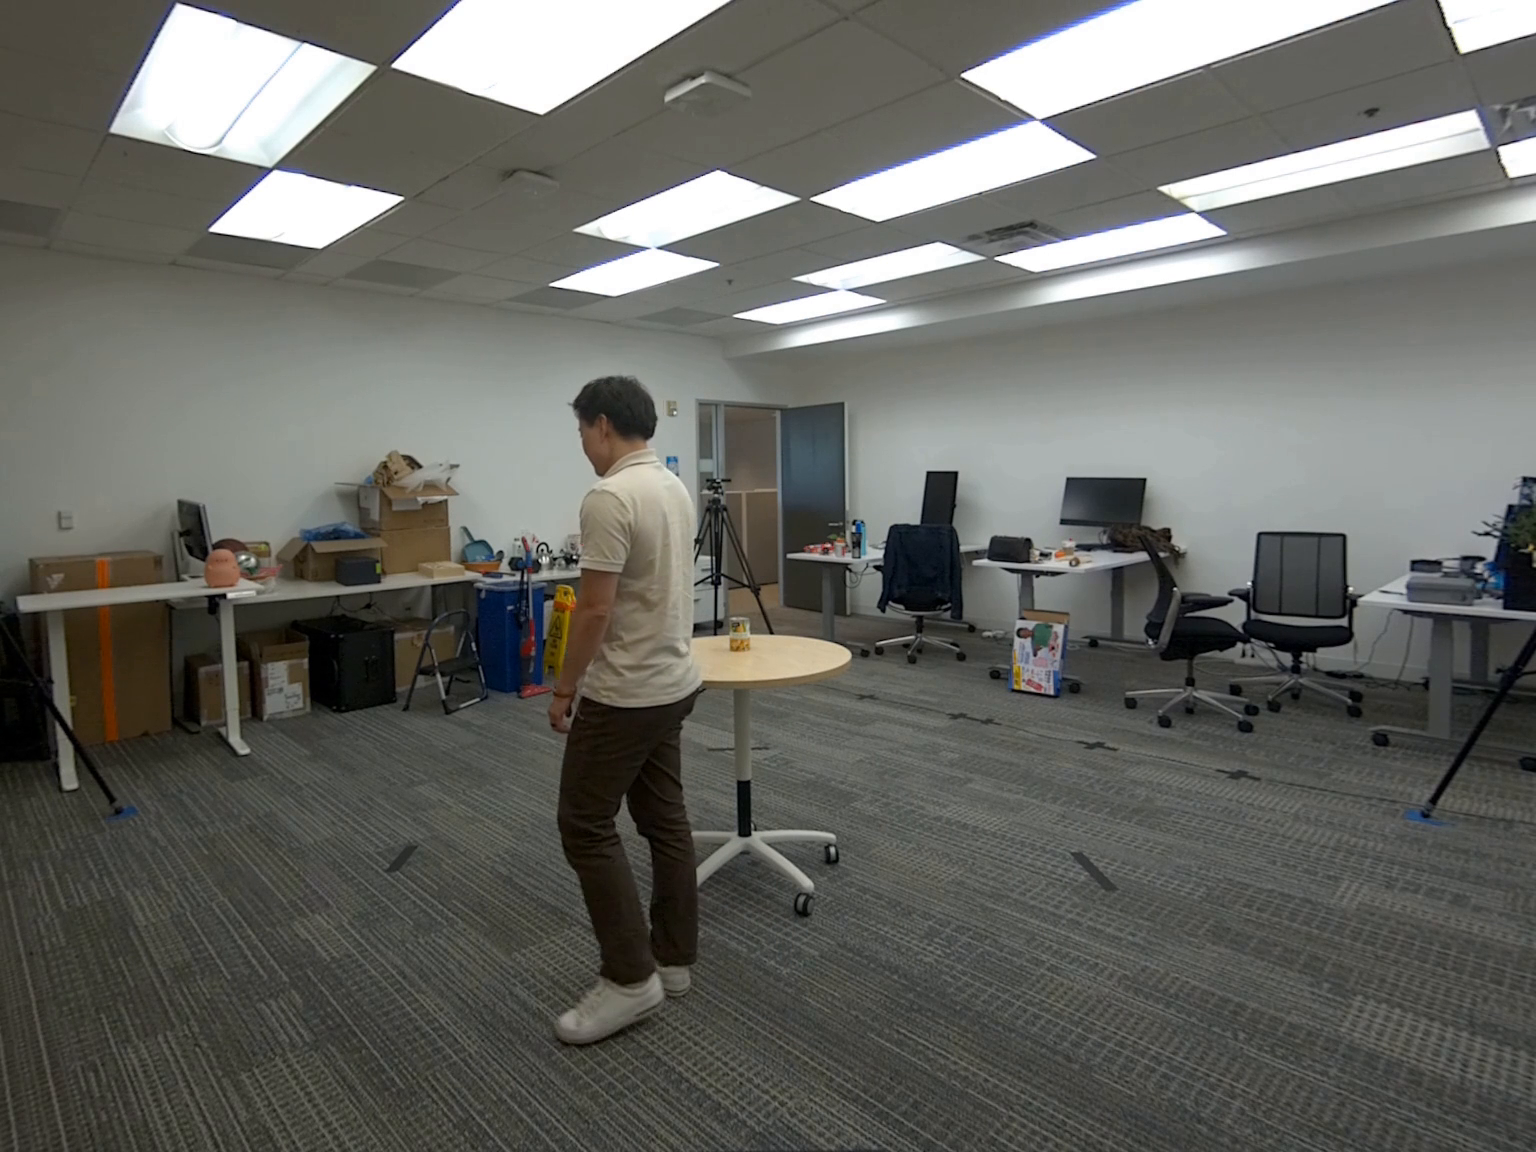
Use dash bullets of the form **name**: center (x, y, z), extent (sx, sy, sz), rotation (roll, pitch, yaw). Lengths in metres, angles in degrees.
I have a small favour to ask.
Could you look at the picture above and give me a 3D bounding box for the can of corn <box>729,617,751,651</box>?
- **can of corn**: center (-0.101, 0.209, 3.072), extent (0.074, 0.111, 0.074), rotation (-2, 2, -2)
